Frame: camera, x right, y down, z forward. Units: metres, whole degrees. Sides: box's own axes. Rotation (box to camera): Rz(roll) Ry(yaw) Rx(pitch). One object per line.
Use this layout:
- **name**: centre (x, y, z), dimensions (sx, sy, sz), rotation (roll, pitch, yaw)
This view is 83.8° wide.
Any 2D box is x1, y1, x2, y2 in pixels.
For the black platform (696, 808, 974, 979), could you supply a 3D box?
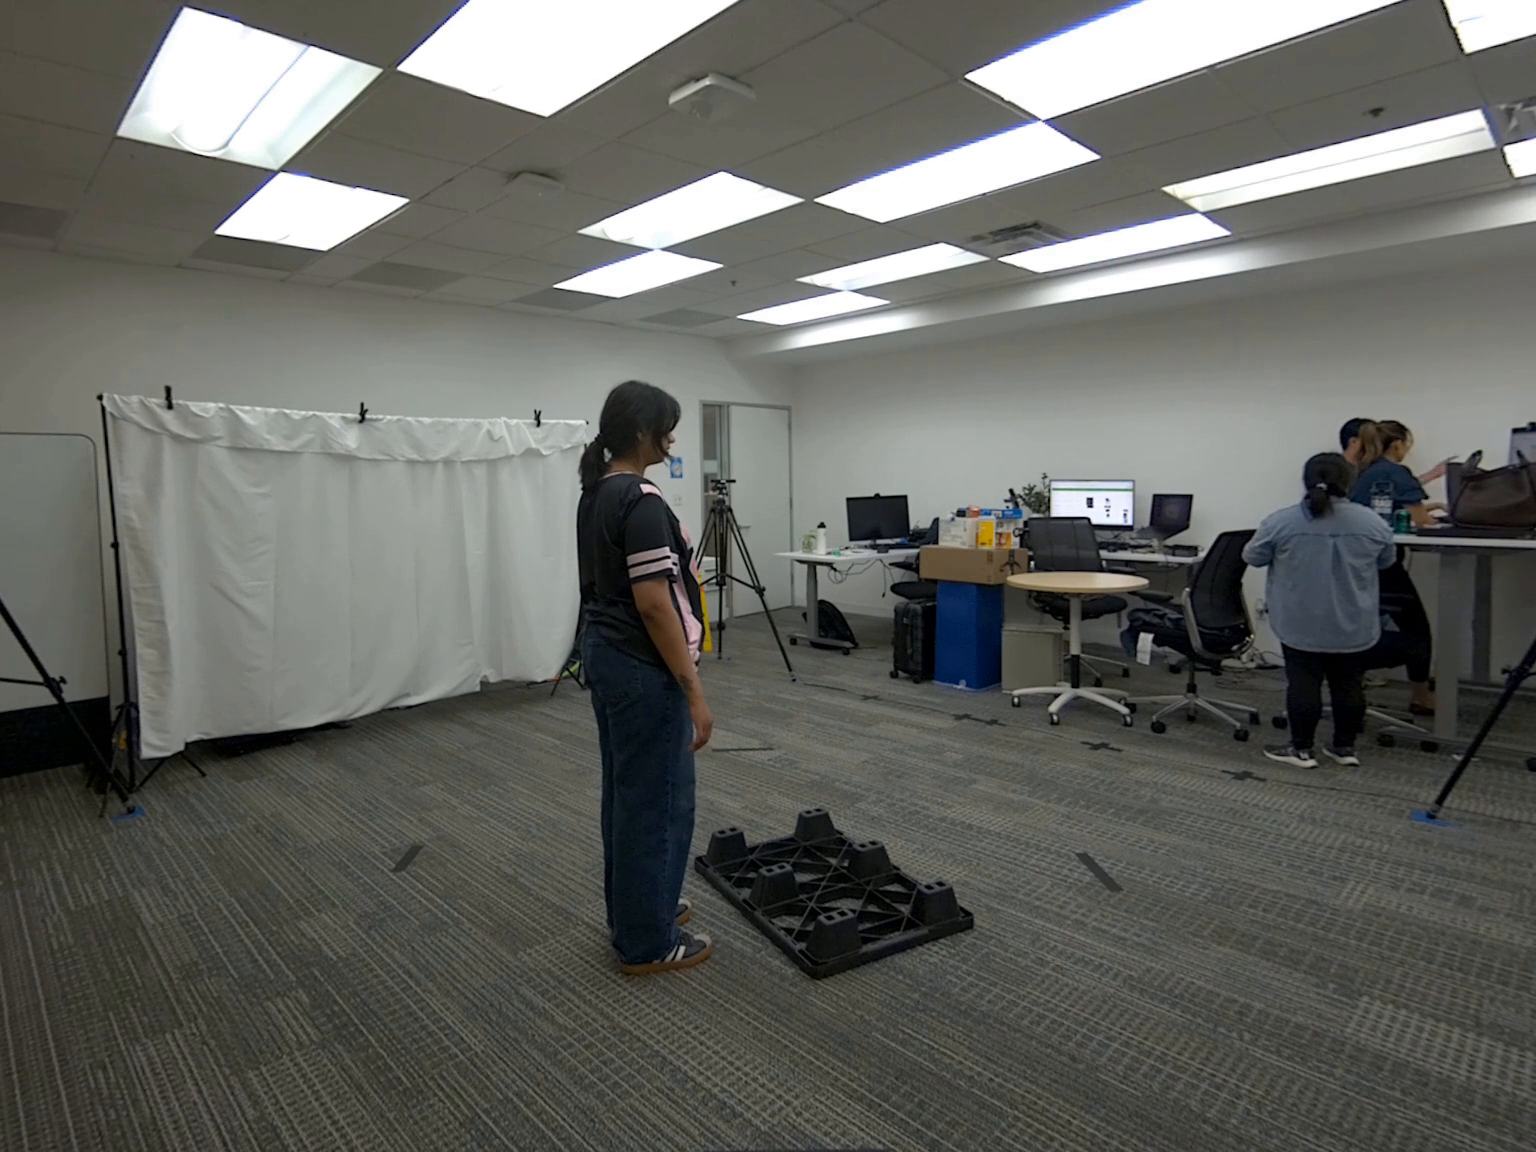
- **black platform**: centre (0.183, 1.005, 2.862), dimensions (0.591, 0.143, 0.828), rotation (-4, 7, -29)
